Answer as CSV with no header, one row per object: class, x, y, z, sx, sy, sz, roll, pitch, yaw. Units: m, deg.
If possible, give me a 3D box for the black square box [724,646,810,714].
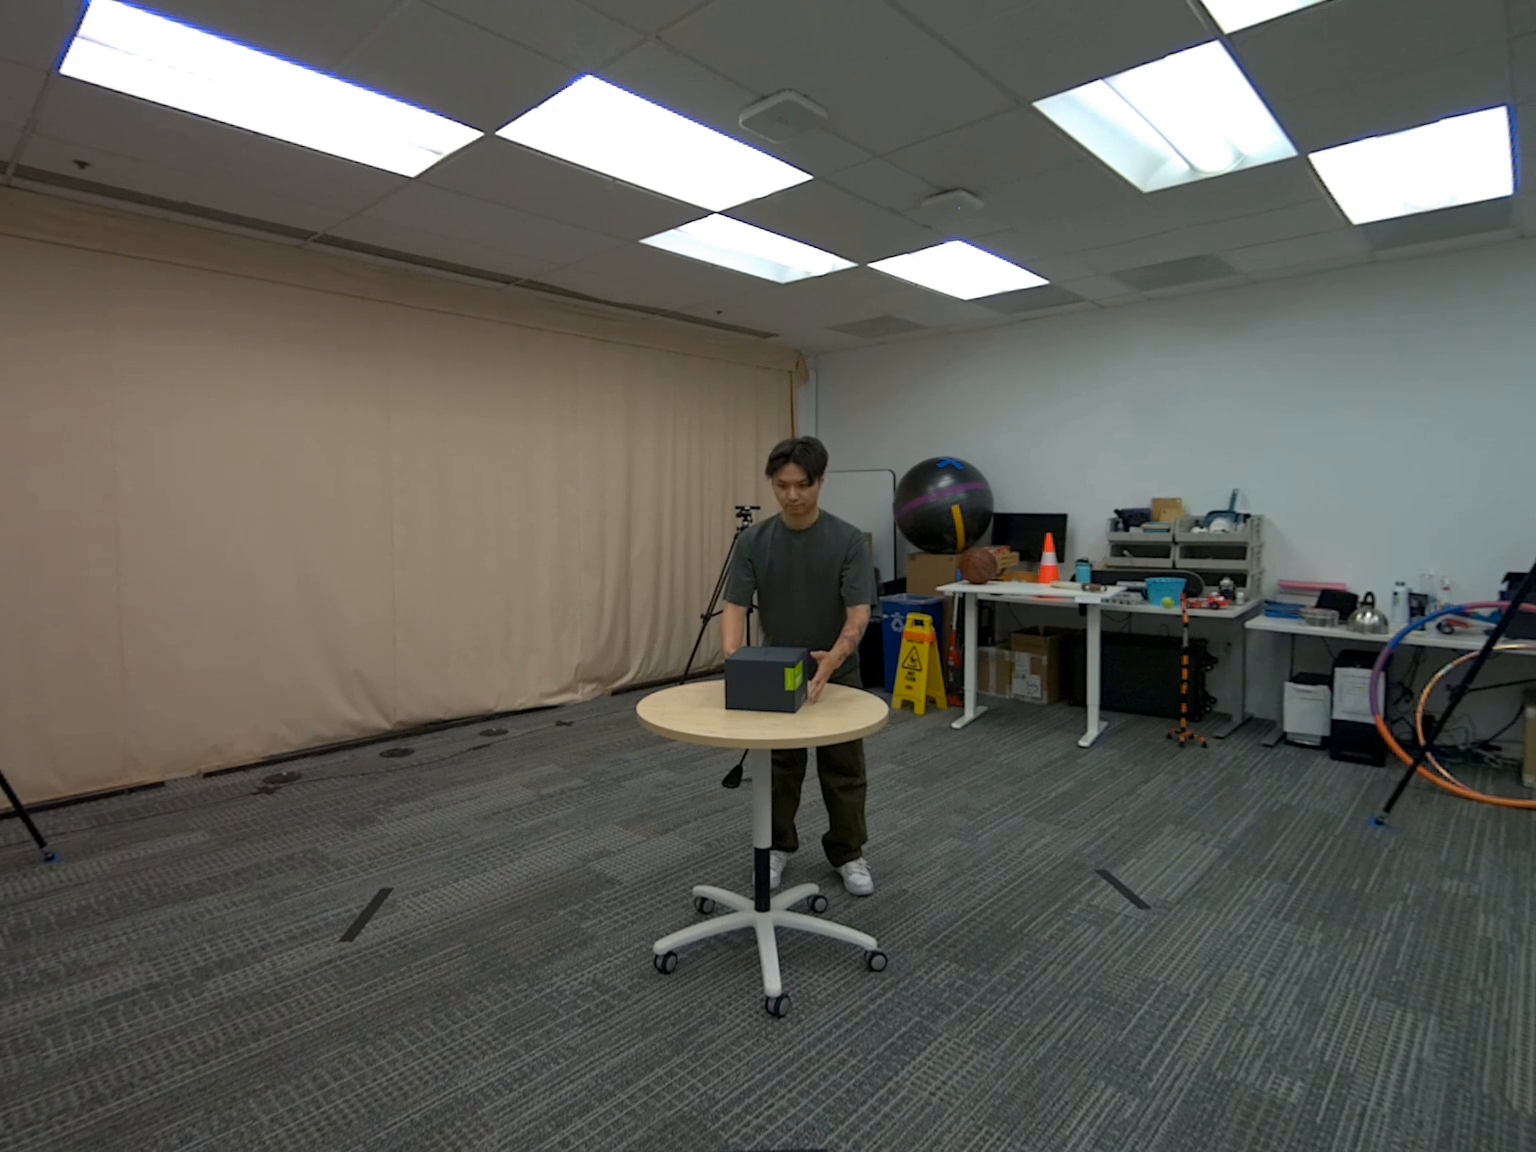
black square box,0.000,0.310,2.598,0.220,0.155,0.225,1,4,14
